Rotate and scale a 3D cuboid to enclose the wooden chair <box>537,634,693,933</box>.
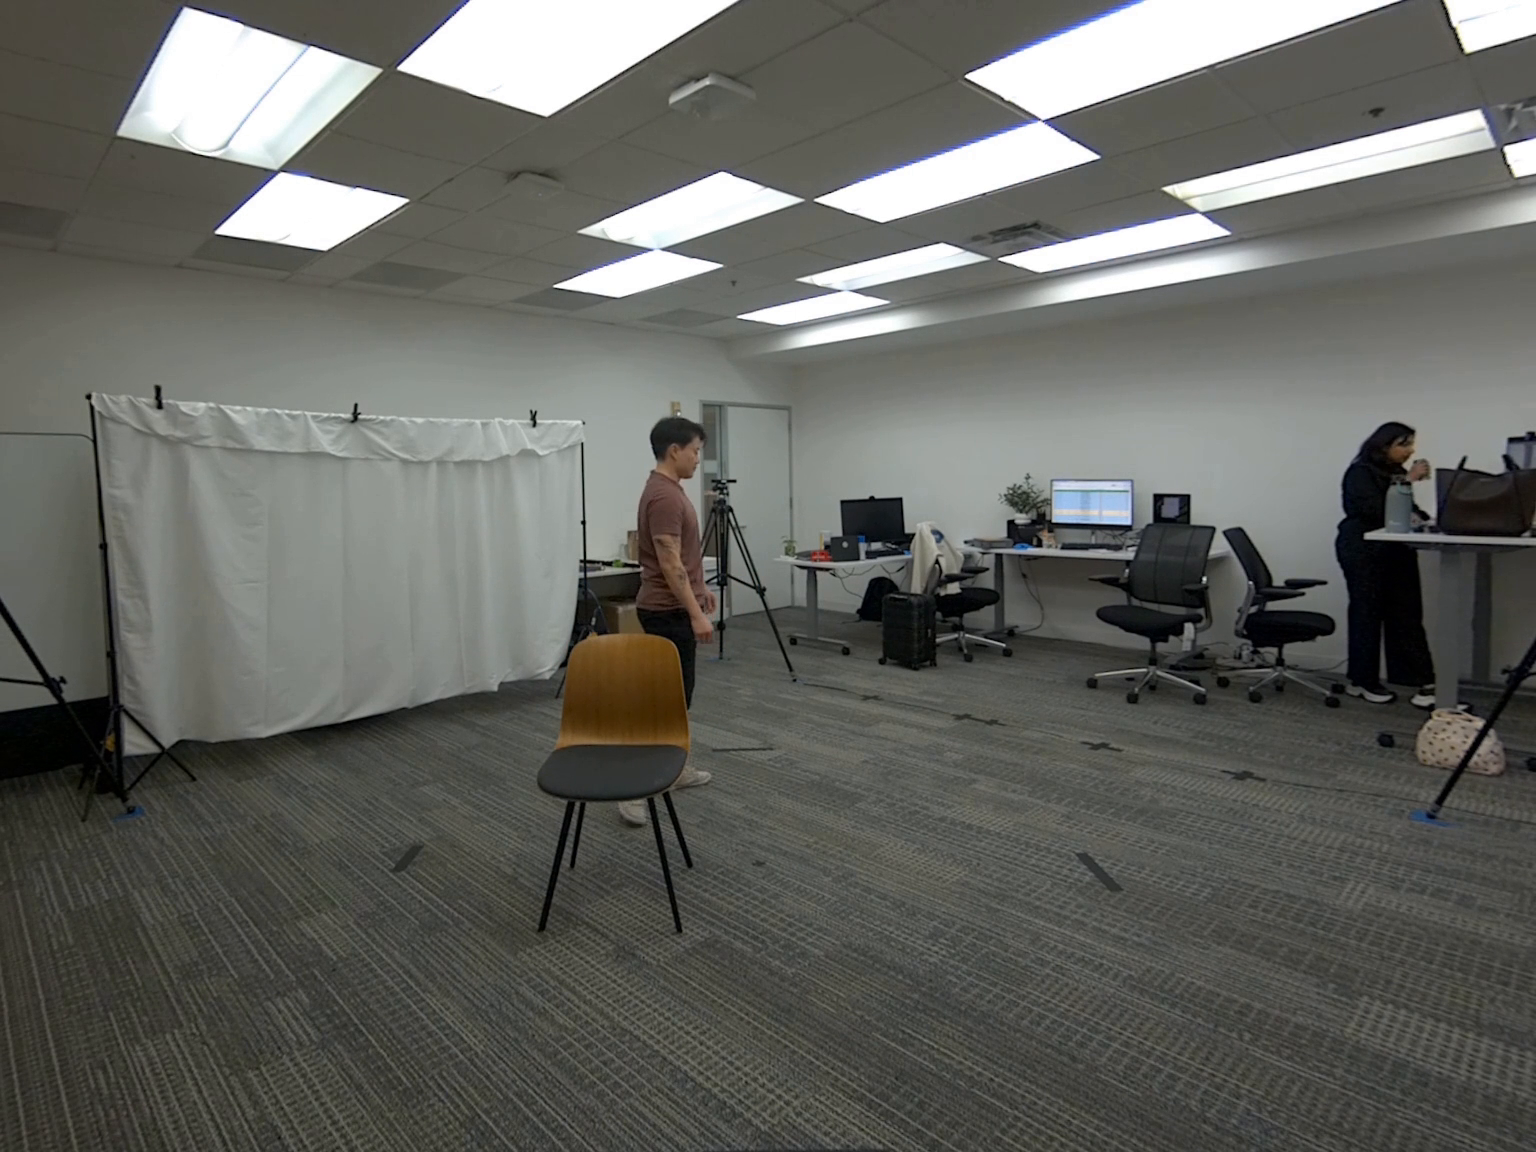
[{"bbox_3d":[-0.497,0.664,2.836,0.479,0.877,0.522,0,0,1],"label":"wooden chair"}]
